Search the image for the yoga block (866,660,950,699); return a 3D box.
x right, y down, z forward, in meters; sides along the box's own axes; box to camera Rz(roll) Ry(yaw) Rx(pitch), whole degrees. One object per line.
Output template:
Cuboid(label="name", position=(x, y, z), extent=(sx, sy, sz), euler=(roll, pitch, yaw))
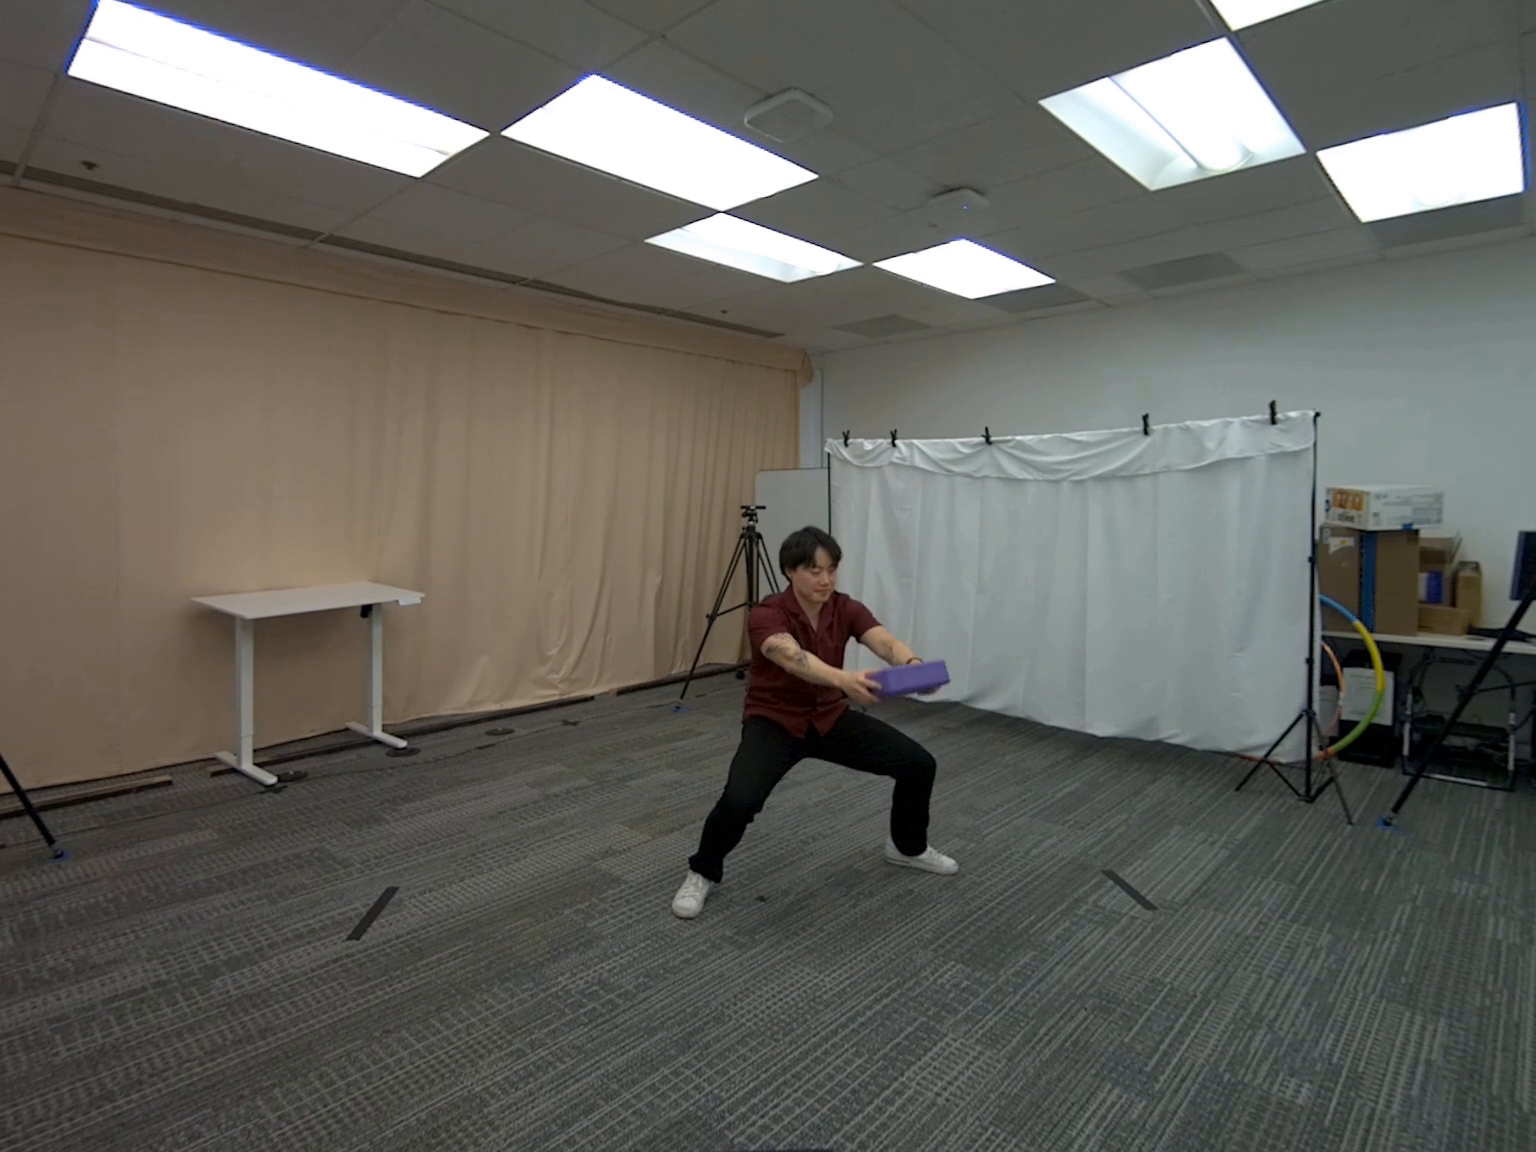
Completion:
Cuboid(label="yoga block", position=(0.413, 0.318, 2.549), extent=(0.225, 0.077, 0.151), euler=(-6, -7, -21))
